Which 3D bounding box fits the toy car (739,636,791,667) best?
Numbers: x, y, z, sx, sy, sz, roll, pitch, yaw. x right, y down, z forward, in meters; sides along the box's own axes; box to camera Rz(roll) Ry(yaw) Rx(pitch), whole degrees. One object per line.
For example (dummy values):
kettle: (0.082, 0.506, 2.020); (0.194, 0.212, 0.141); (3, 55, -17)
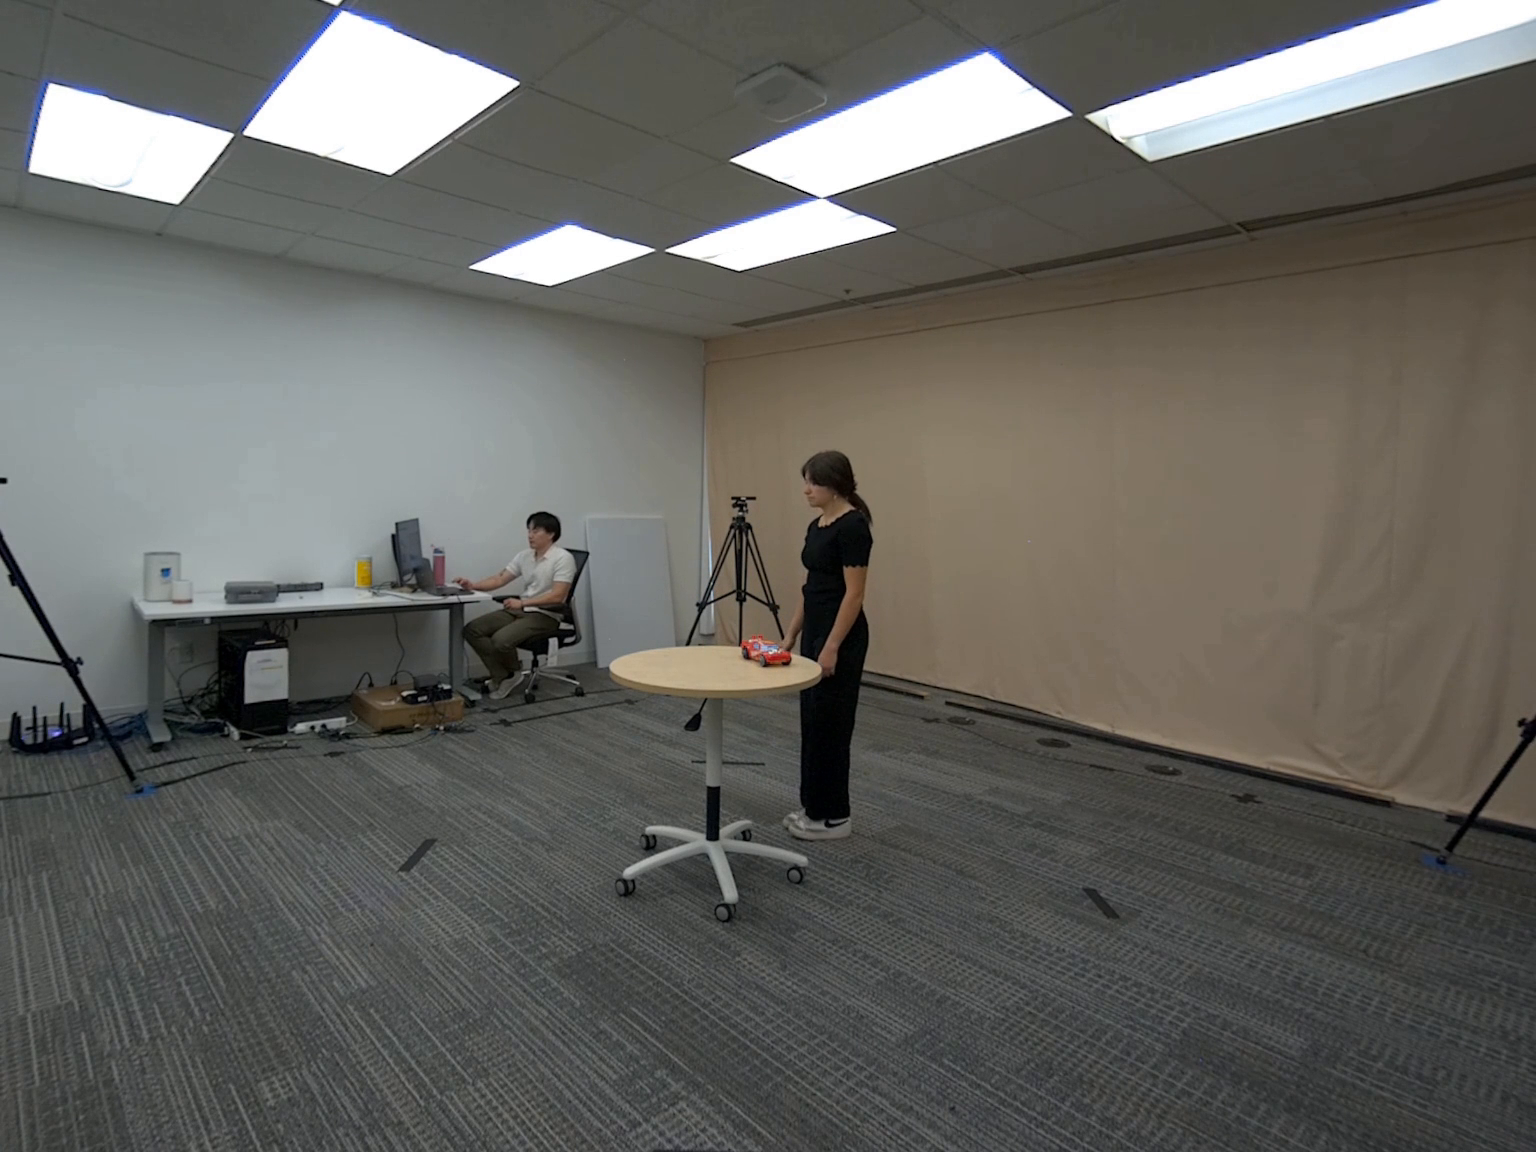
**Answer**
toy car: (-0.027, 0.285, 3.153); (0.128, 0.082, 0.261); (-1, 17, -24)
